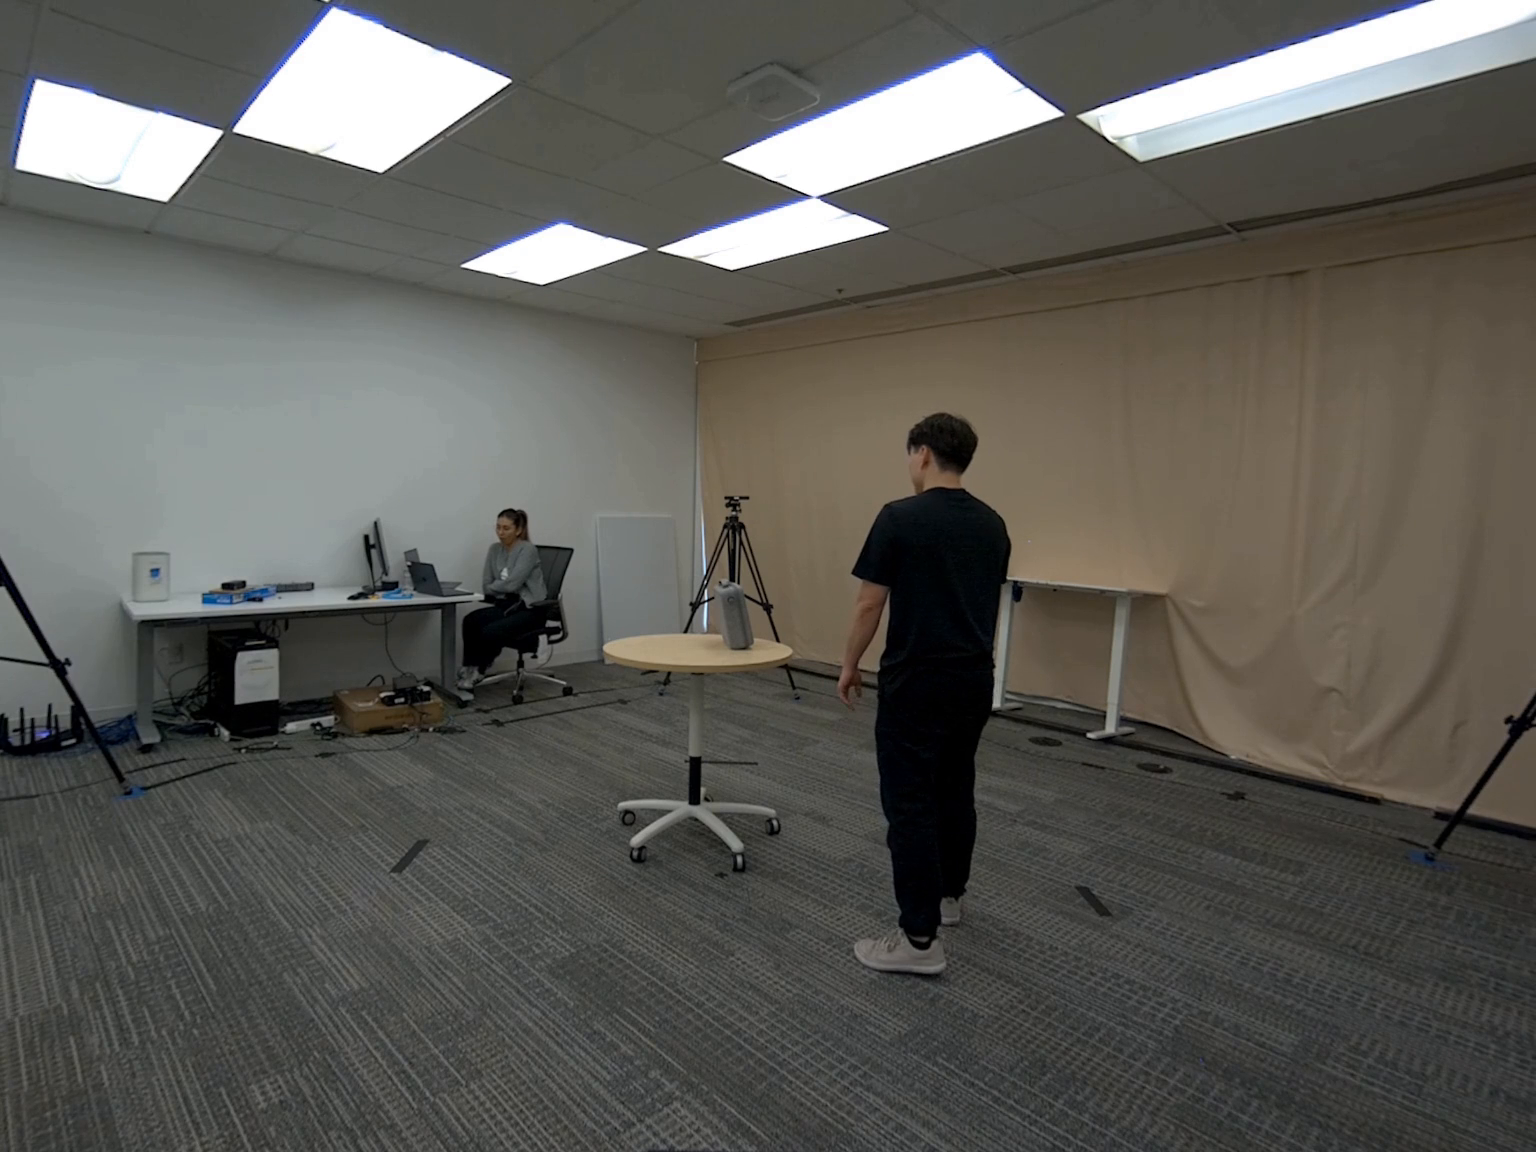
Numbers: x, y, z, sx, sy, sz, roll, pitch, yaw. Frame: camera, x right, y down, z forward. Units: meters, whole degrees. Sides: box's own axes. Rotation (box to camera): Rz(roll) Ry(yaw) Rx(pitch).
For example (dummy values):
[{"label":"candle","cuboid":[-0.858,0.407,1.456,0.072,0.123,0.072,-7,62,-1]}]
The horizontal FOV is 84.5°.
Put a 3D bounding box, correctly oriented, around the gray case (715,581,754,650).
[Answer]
[{"label":"gray case","cuboid":[-0.151,0.158,3.490,0.104,0.260,0.259,-9,4,-8]}]
